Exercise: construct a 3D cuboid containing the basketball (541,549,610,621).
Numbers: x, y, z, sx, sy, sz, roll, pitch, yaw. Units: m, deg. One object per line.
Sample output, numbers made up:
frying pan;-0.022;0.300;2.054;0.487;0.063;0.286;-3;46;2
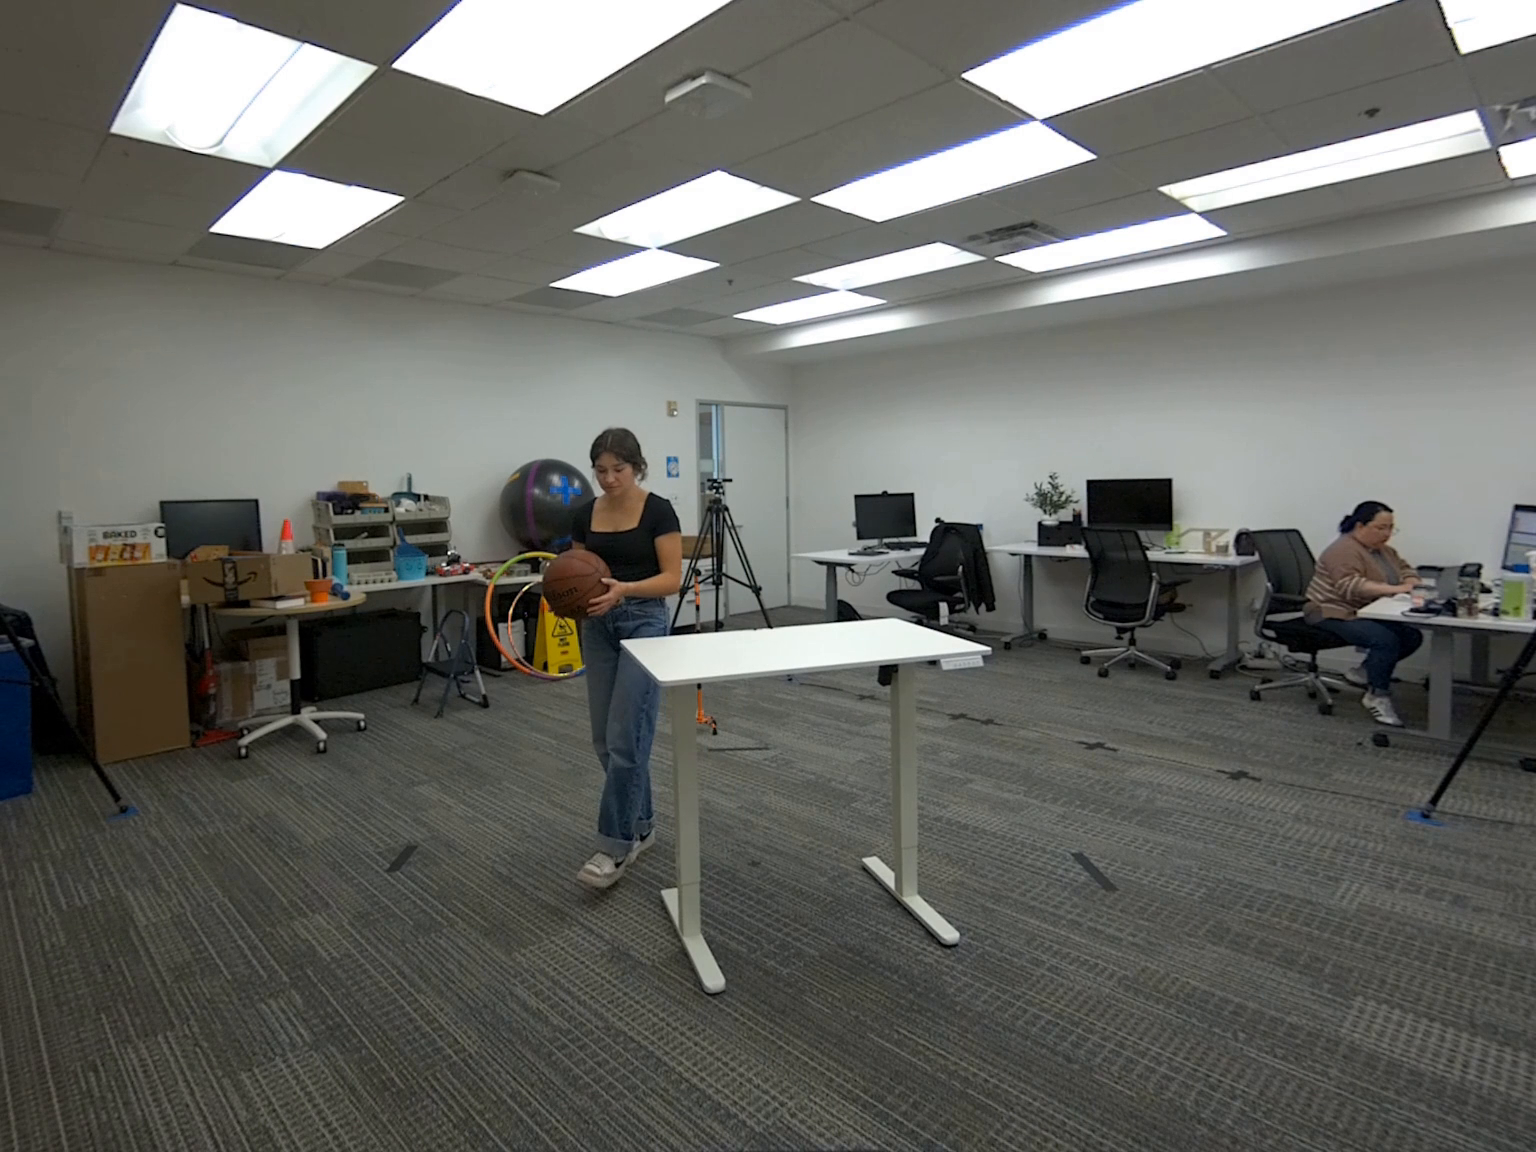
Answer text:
basketball;-0.658;0.029;2.930;0.236;0.235;0.237;-1;5;-2
